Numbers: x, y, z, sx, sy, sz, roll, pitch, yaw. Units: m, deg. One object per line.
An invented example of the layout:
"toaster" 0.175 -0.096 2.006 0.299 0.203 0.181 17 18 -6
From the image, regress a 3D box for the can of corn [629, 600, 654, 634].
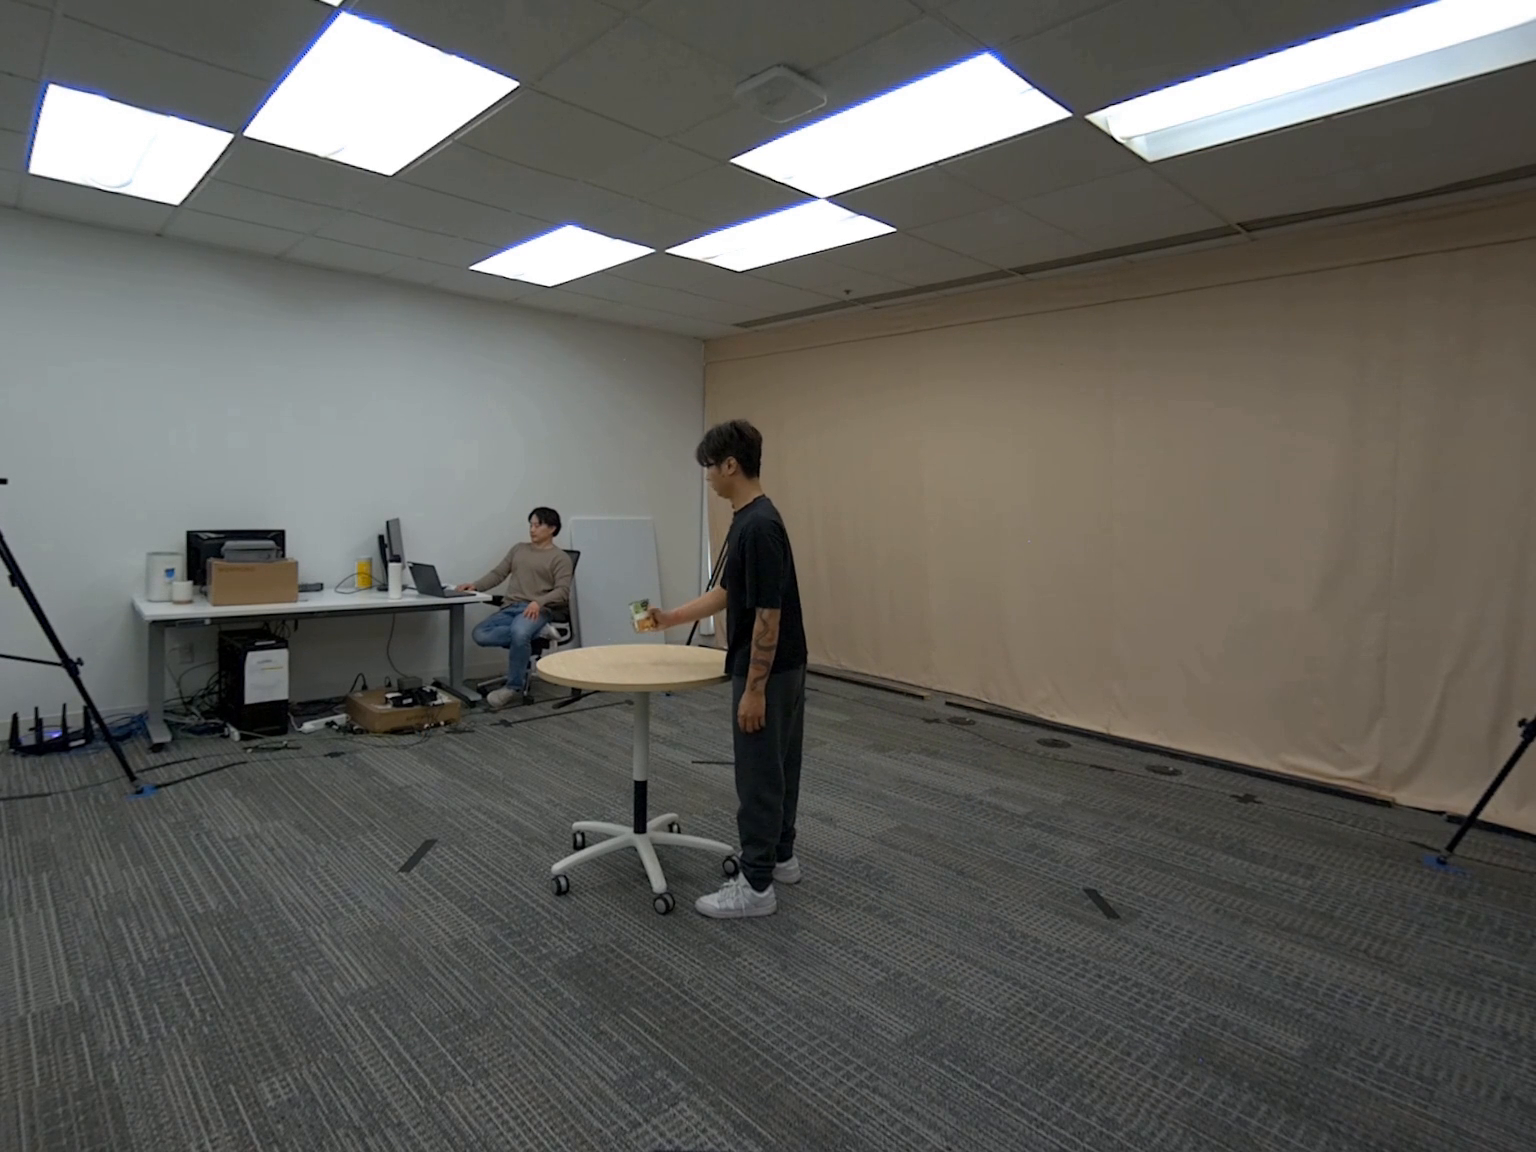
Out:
"can of corn" -0.454 0.179 3.038 0.074 0.110 0.074 -3 6 -1
